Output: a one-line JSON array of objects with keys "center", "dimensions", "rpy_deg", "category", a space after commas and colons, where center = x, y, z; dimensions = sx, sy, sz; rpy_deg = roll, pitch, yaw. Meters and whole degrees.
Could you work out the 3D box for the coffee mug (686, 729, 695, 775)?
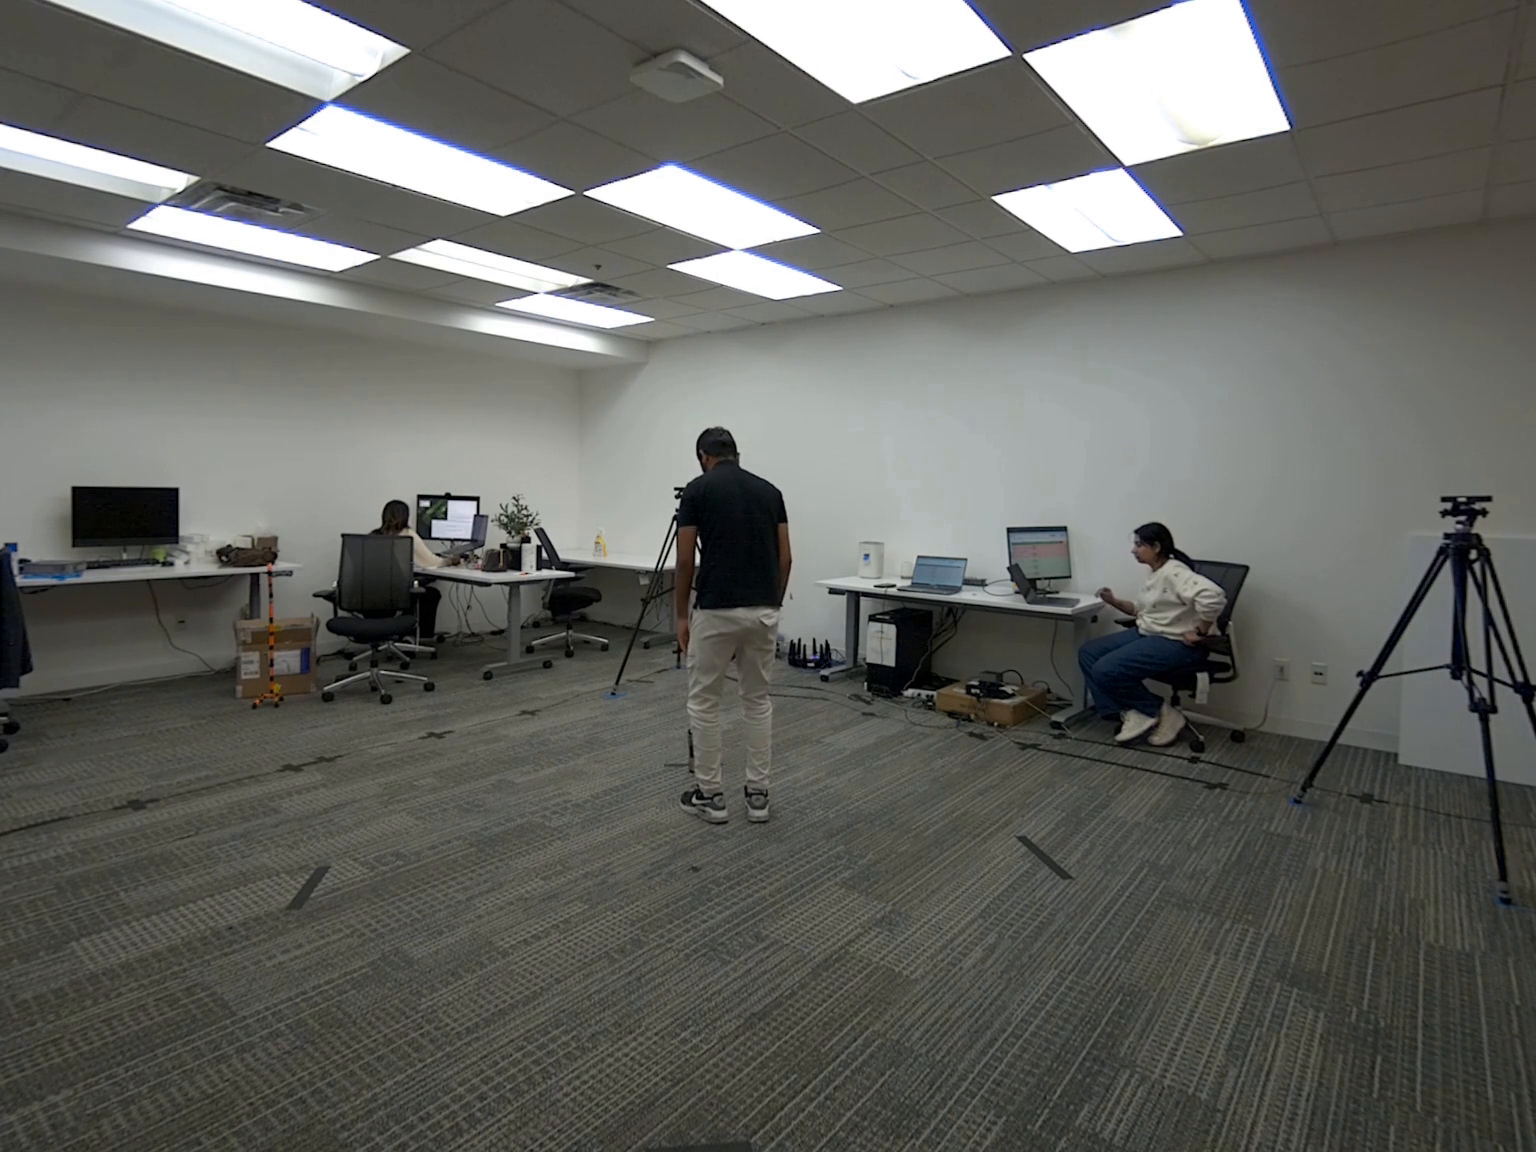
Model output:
[{"center": [-0.378, 0.857, 4.170], "dimensions": [0.091, 0.202, 0.118], "rpy_deg": [7, 4, 35], "category": "coffee mug"}]
